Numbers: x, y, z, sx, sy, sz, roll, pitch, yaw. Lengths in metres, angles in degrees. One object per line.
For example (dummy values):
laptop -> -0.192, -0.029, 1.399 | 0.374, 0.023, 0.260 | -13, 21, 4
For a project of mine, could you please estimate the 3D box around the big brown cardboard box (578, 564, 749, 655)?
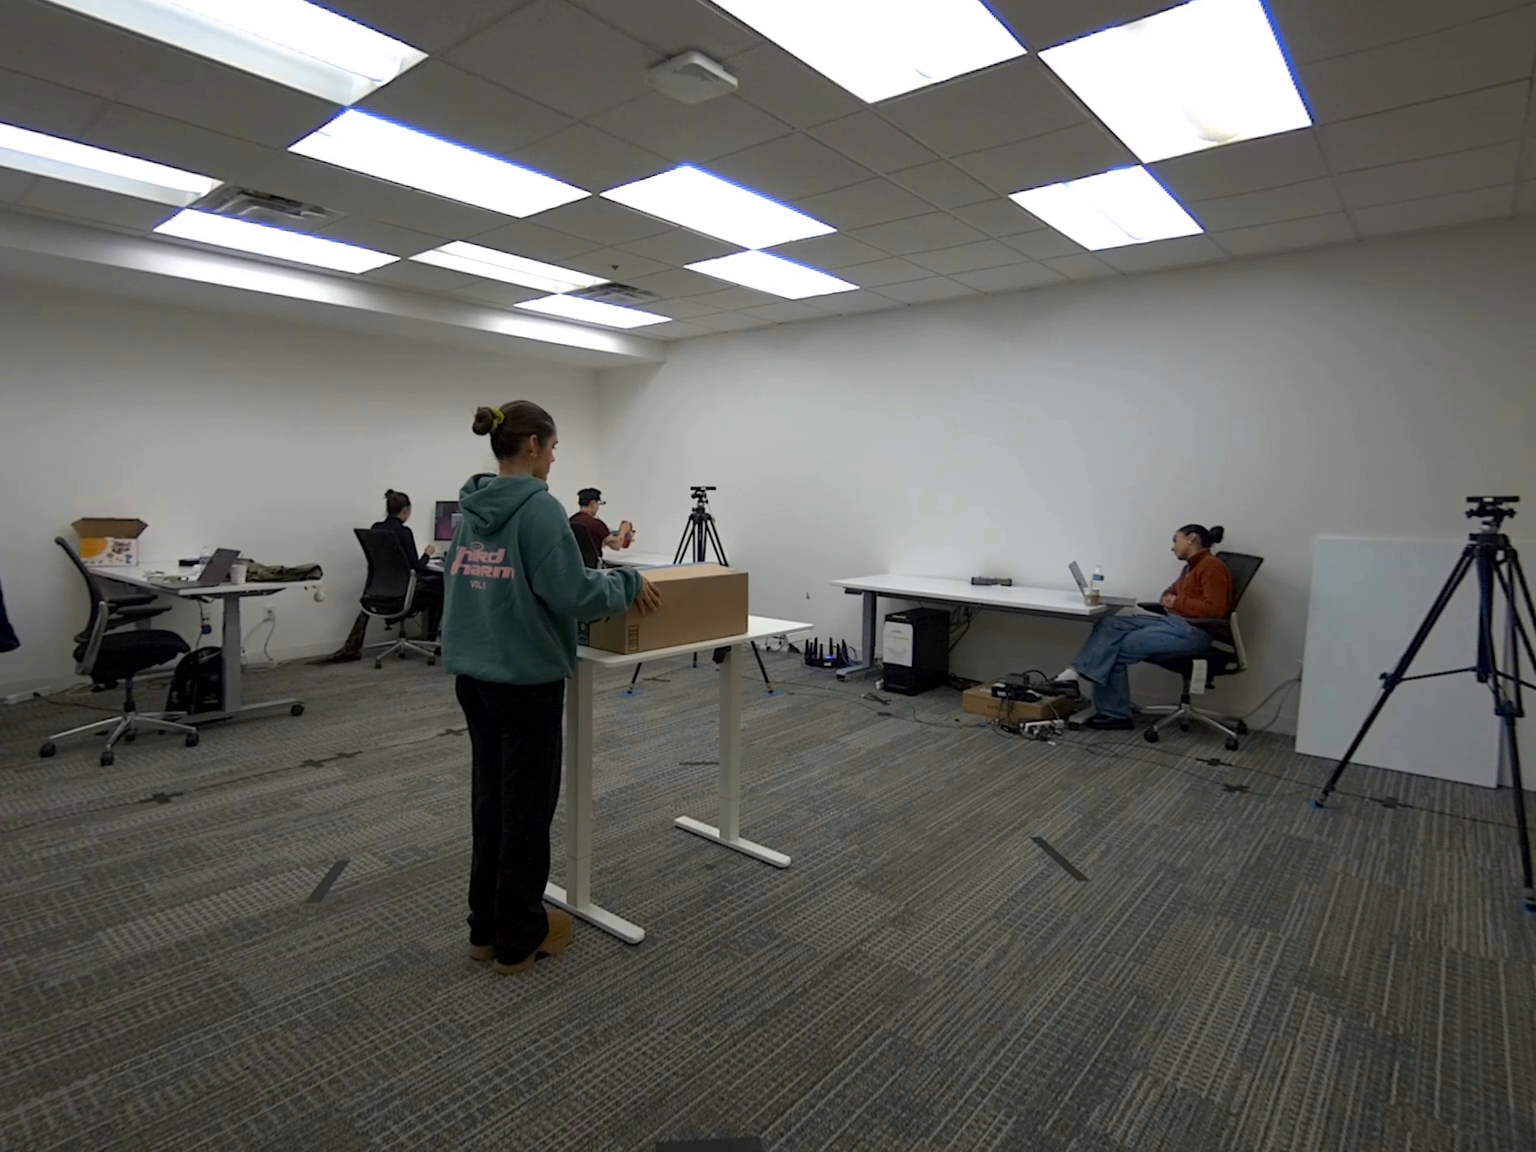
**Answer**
big brown cardboard box -> -0.407, 0.093, 2.896 | 0.432, 0.232, 0.572 | 5, 8, 41
